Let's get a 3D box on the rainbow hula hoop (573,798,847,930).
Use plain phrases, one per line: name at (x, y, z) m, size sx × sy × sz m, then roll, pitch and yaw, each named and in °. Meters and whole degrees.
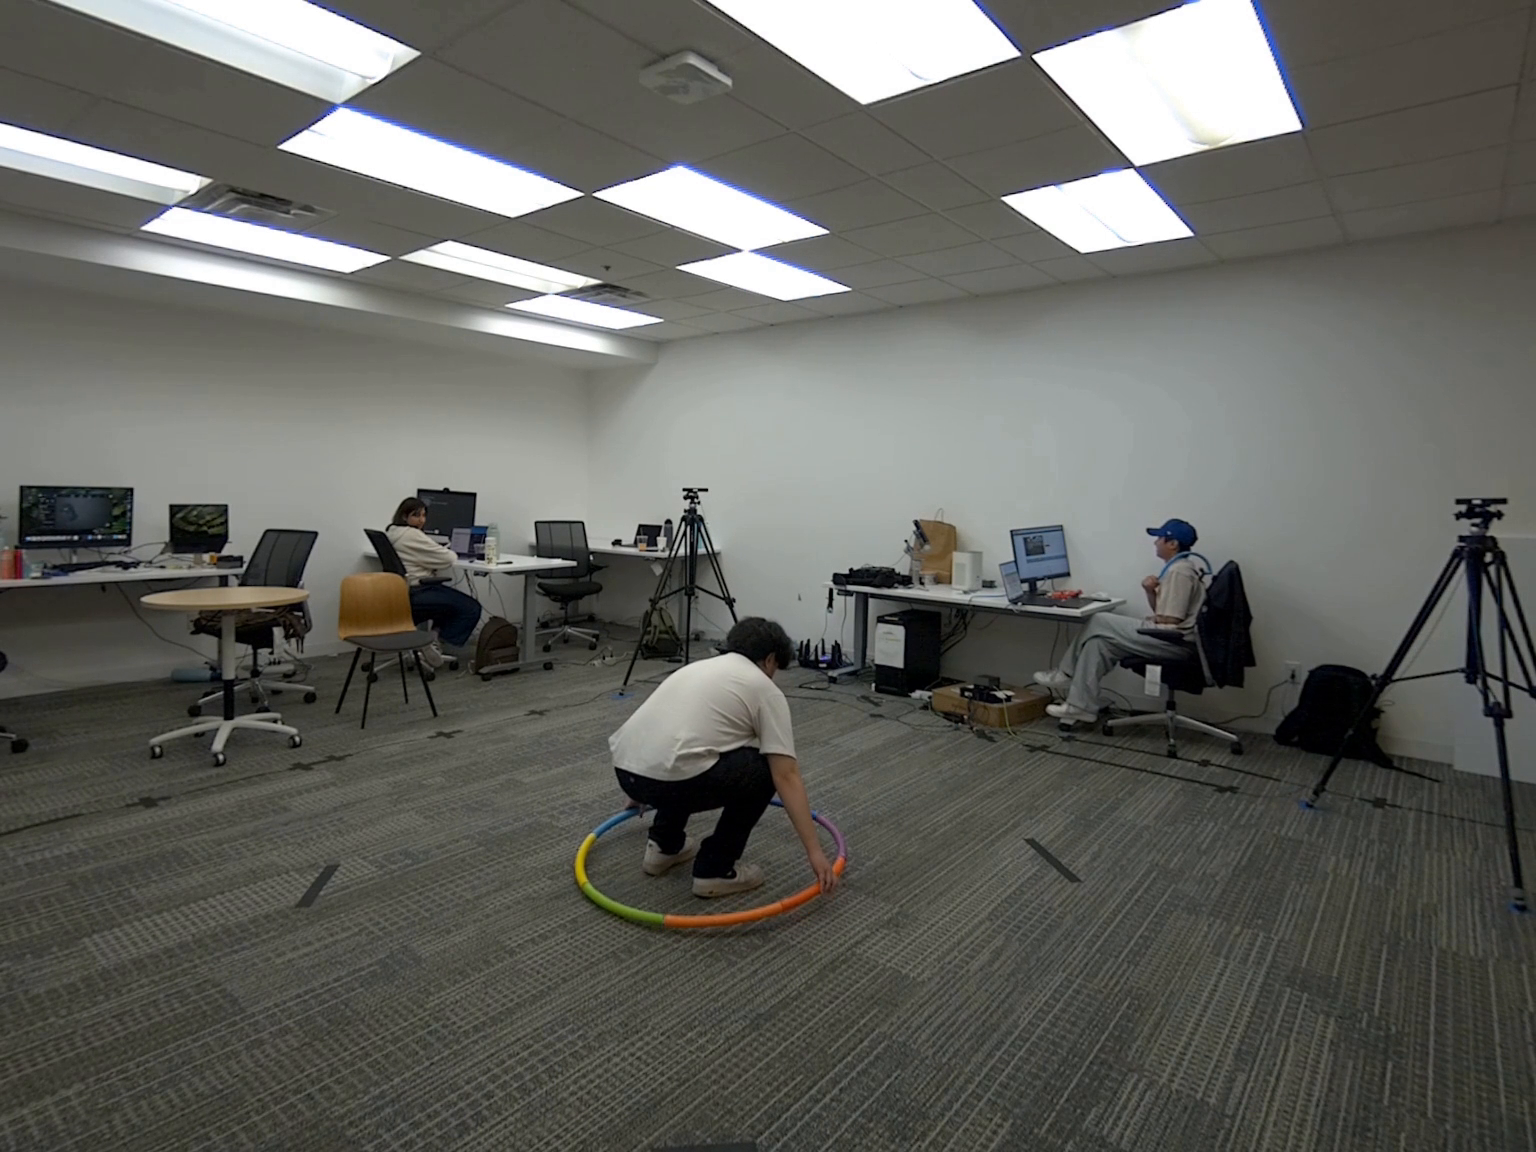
rainbow hula hoop at (-0.221, 0.995, 3.117) m, size 0.985 × 0.051 × 0.994 m, roll -3°, pitch 9°, yaw -1°
